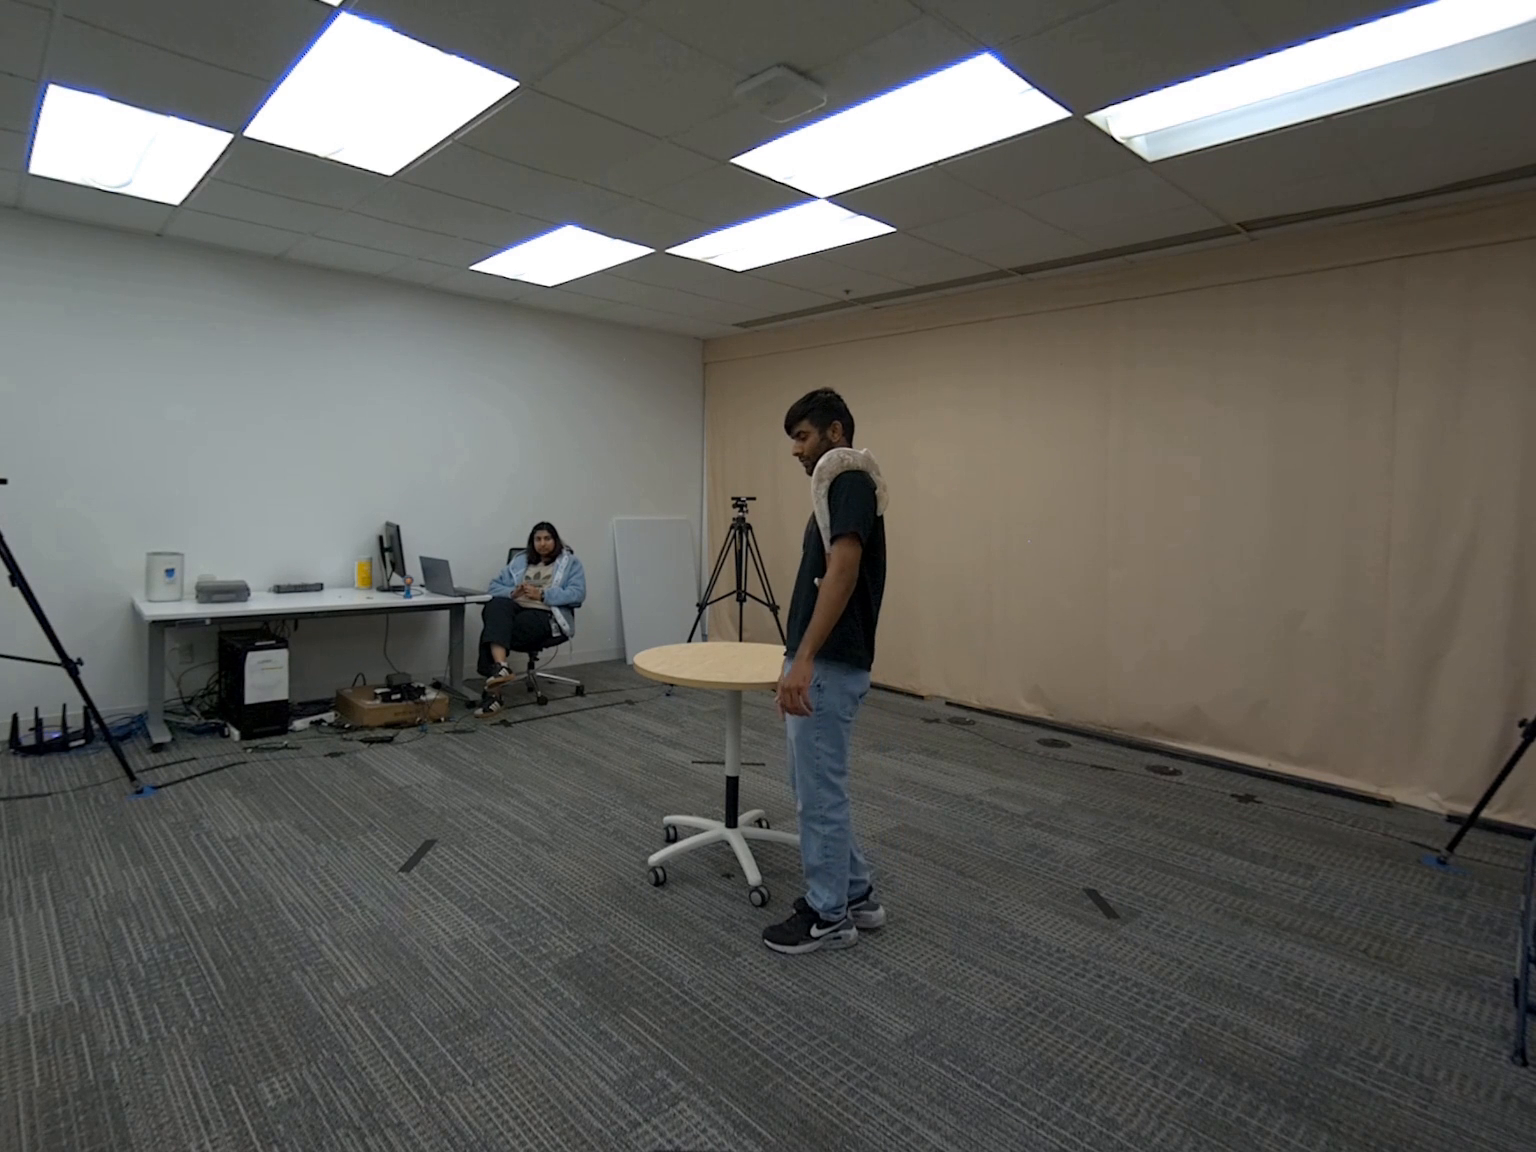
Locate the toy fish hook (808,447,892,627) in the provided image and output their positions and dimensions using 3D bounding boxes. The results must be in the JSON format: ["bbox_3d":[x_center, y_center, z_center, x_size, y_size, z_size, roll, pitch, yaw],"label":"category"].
[{"bbox_3d":[0.227,-0.117,2.438,0.226,0.508,0.048,3,-3,7],"label":"toy fish hook"}]
